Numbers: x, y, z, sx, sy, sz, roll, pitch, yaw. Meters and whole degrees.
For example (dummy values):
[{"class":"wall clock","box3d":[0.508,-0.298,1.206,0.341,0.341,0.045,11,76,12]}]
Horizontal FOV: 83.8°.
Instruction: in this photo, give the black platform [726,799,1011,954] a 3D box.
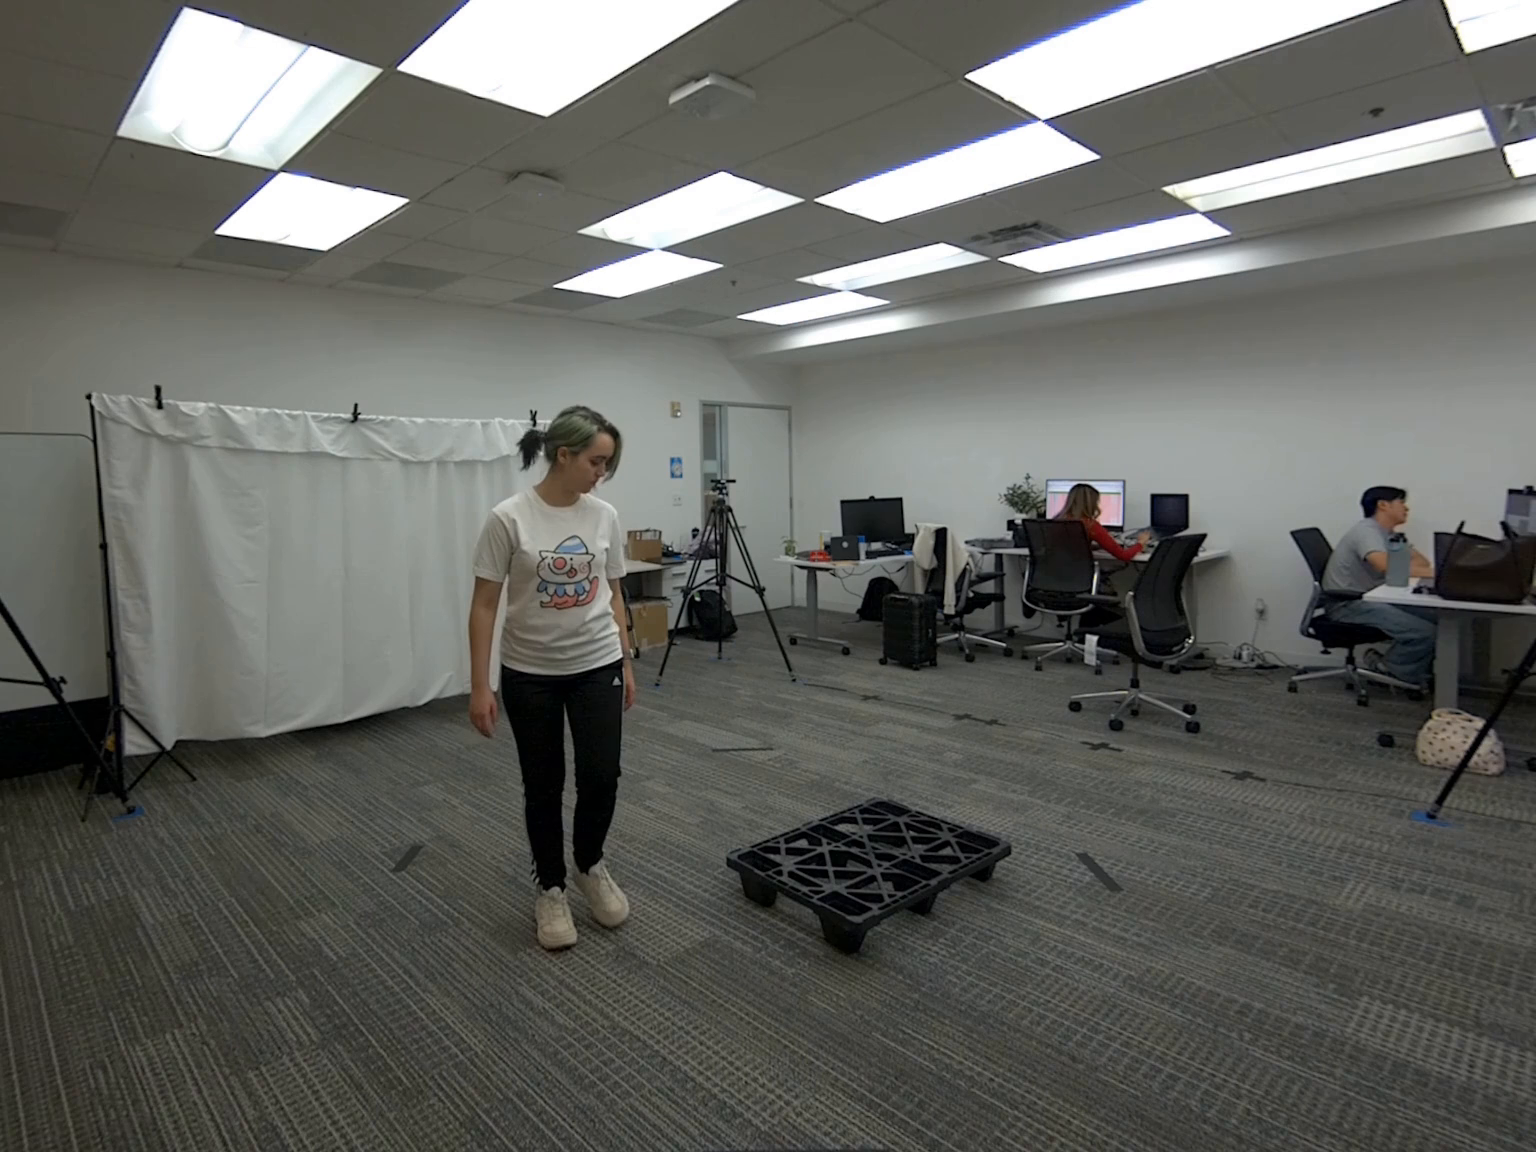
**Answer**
[{"class":"black platform","box3d":[0.355,0.996,2.910,0.785,0.142,0.624,-7,9,-41]}]
